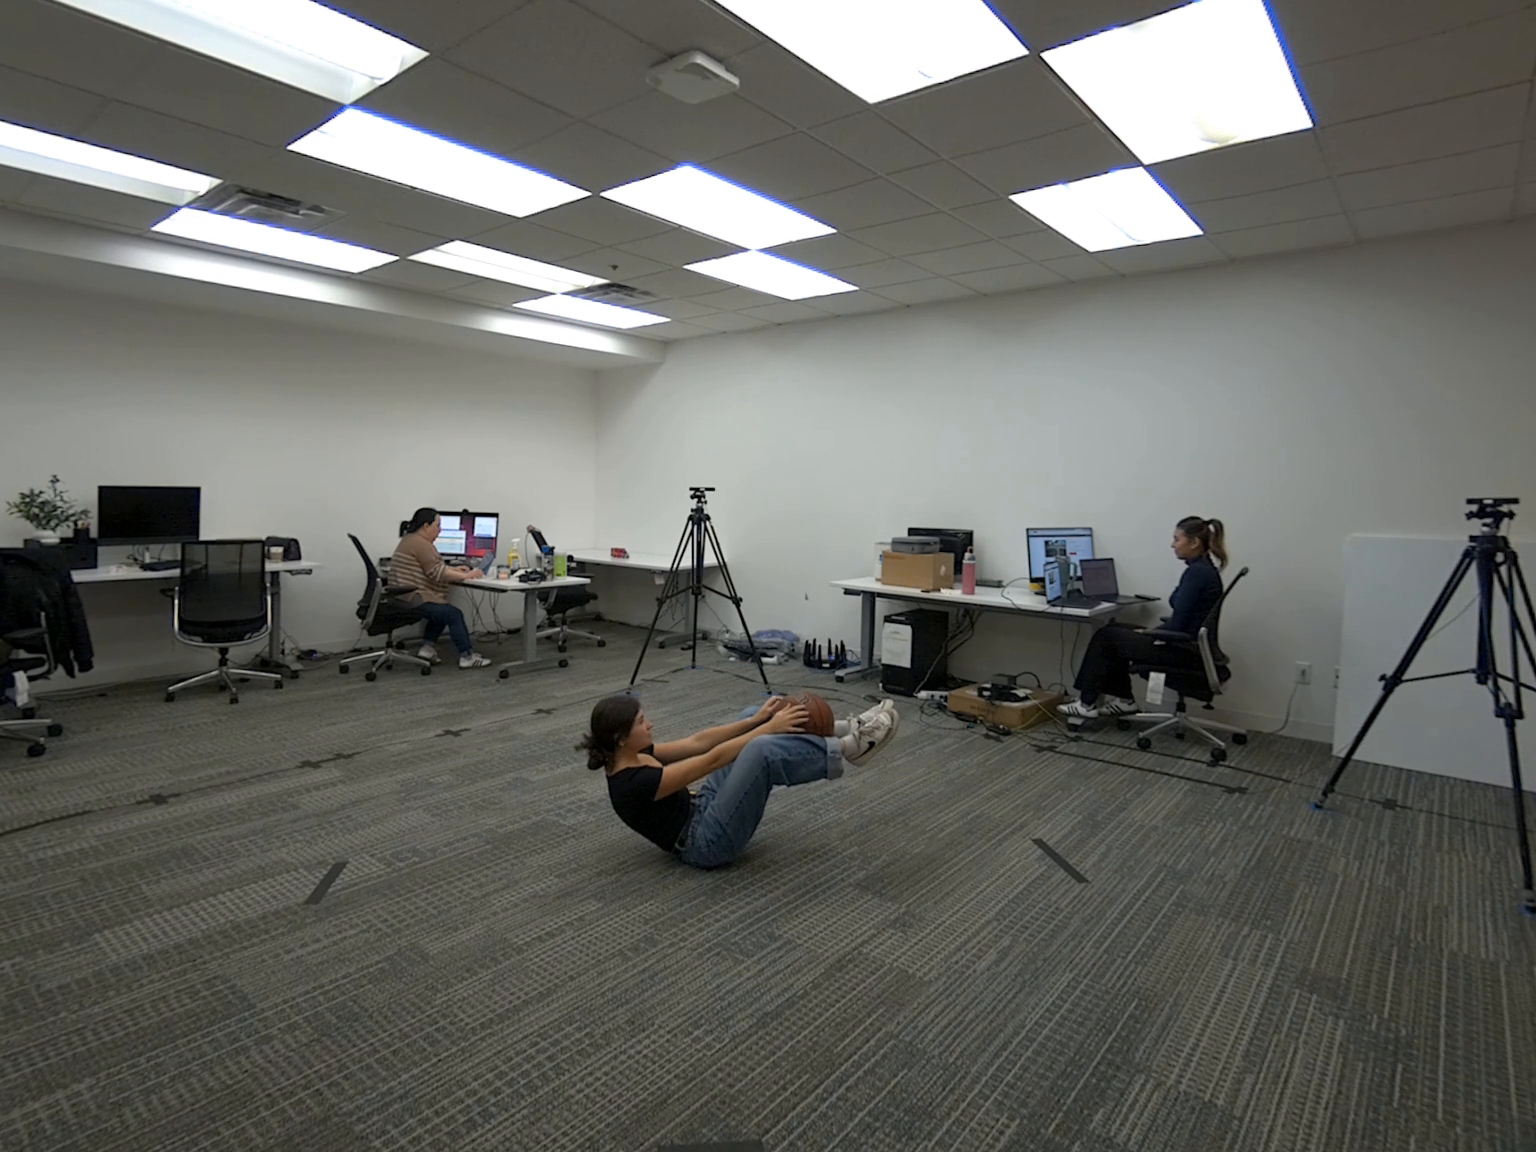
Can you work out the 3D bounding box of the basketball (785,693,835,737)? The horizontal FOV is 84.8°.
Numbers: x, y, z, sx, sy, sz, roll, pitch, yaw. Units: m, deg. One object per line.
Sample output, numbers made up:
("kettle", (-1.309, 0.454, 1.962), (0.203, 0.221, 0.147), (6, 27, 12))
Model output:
("basketball", (0.126, 0.556, 3.269), (0.235, 0.235, 0.237), (1, 4, -2))
